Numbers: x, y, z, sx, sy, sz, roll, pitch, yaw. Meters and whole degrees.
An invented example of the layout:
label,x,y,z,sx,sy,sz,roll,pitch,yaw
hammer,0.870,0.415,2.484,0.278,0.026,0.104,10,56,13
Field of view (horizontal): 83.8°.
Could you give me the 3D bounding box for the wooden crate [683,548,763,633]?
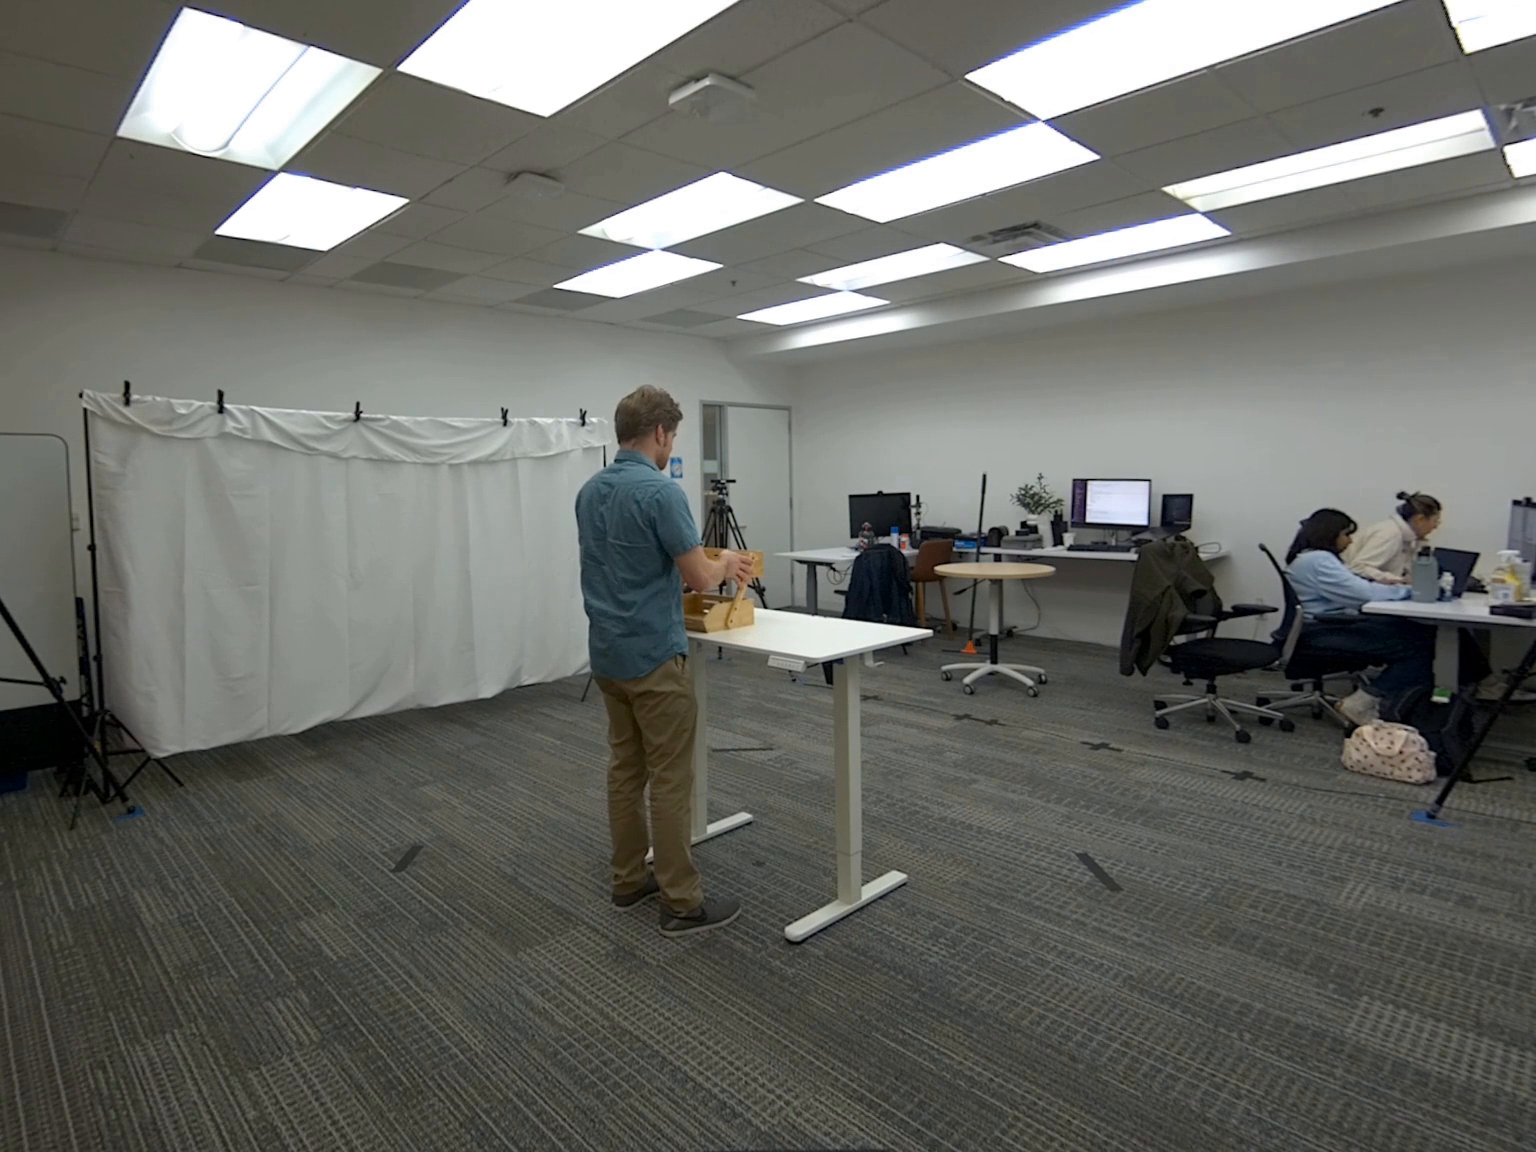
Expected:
label,x,y,z,sx,sy,sz,roll,pitch,yaw
wooden crate,-0.225,0.042,3.065,0.334,0.272,0.294,3,5,44
